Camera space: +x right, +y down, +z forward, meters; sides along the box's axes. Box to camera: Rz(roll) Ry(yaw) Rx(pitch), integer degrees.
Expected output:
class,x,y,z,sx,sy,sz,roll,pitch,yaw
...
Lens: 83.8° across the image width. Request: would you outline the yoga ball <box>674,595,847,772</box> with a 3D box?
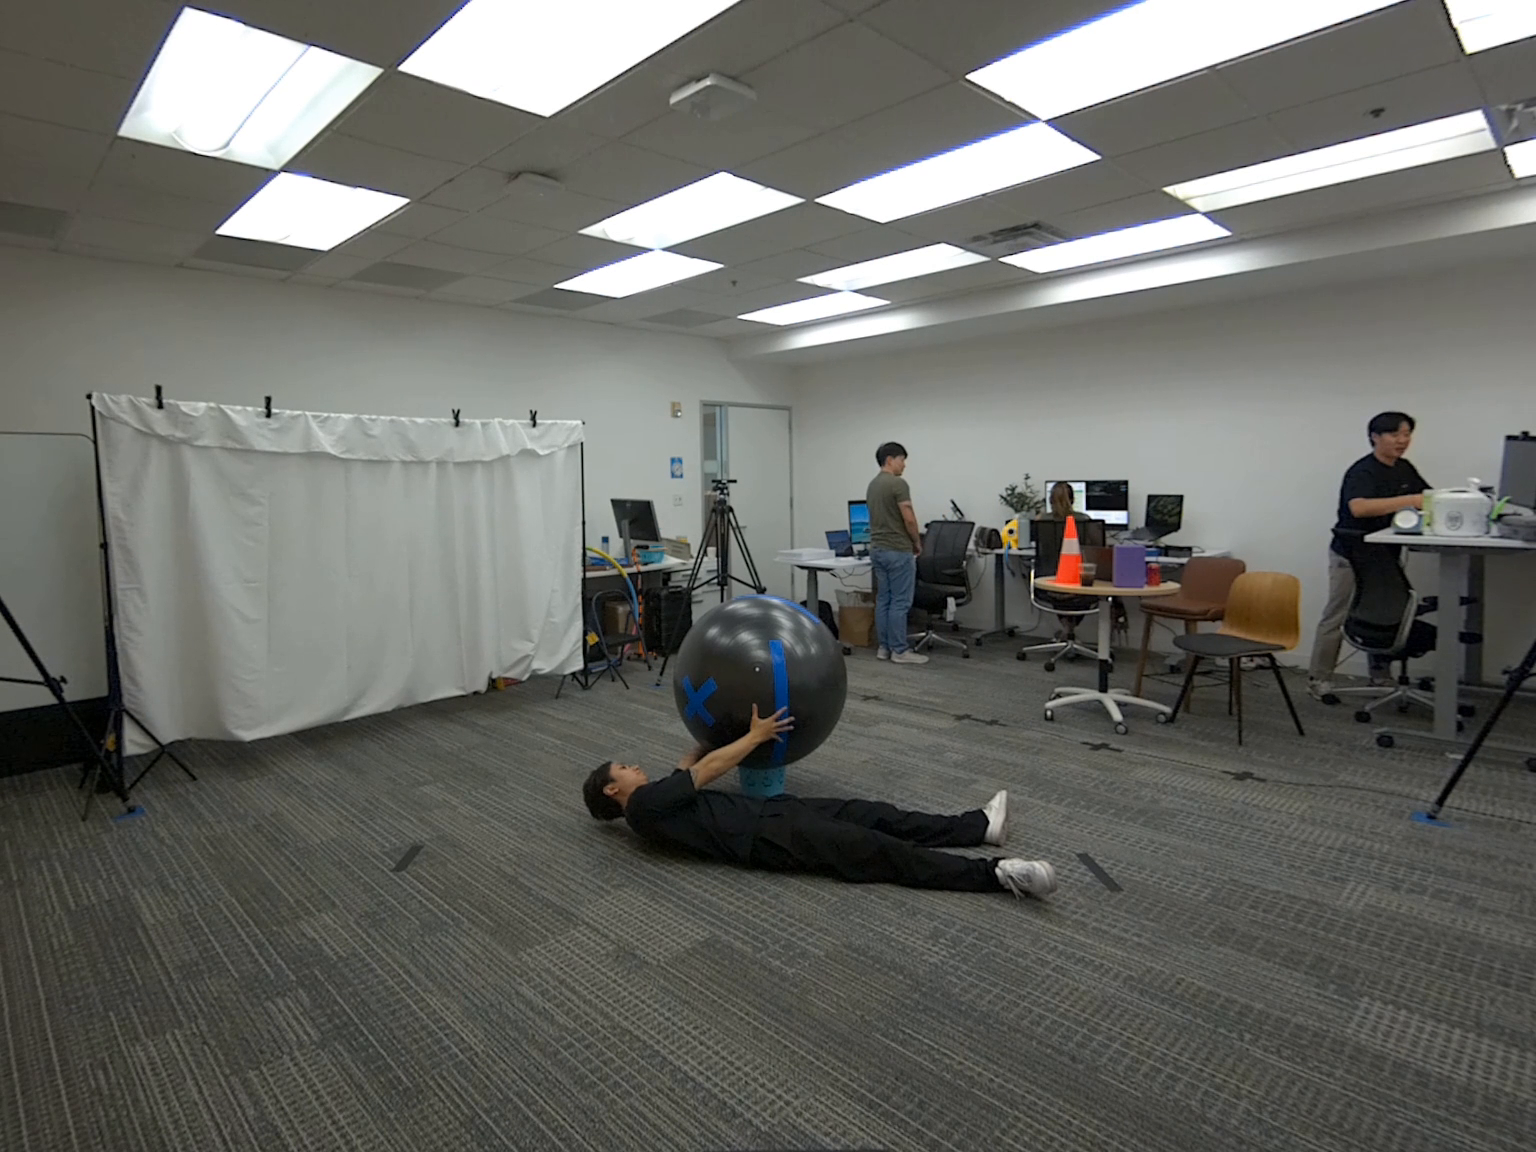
class,x,y,z,sx,sy,sz,roll,pitch,yaw
yoga ball,-0.034,0.466,3.765,0.757,0.755,0.762,-1,5,-2
